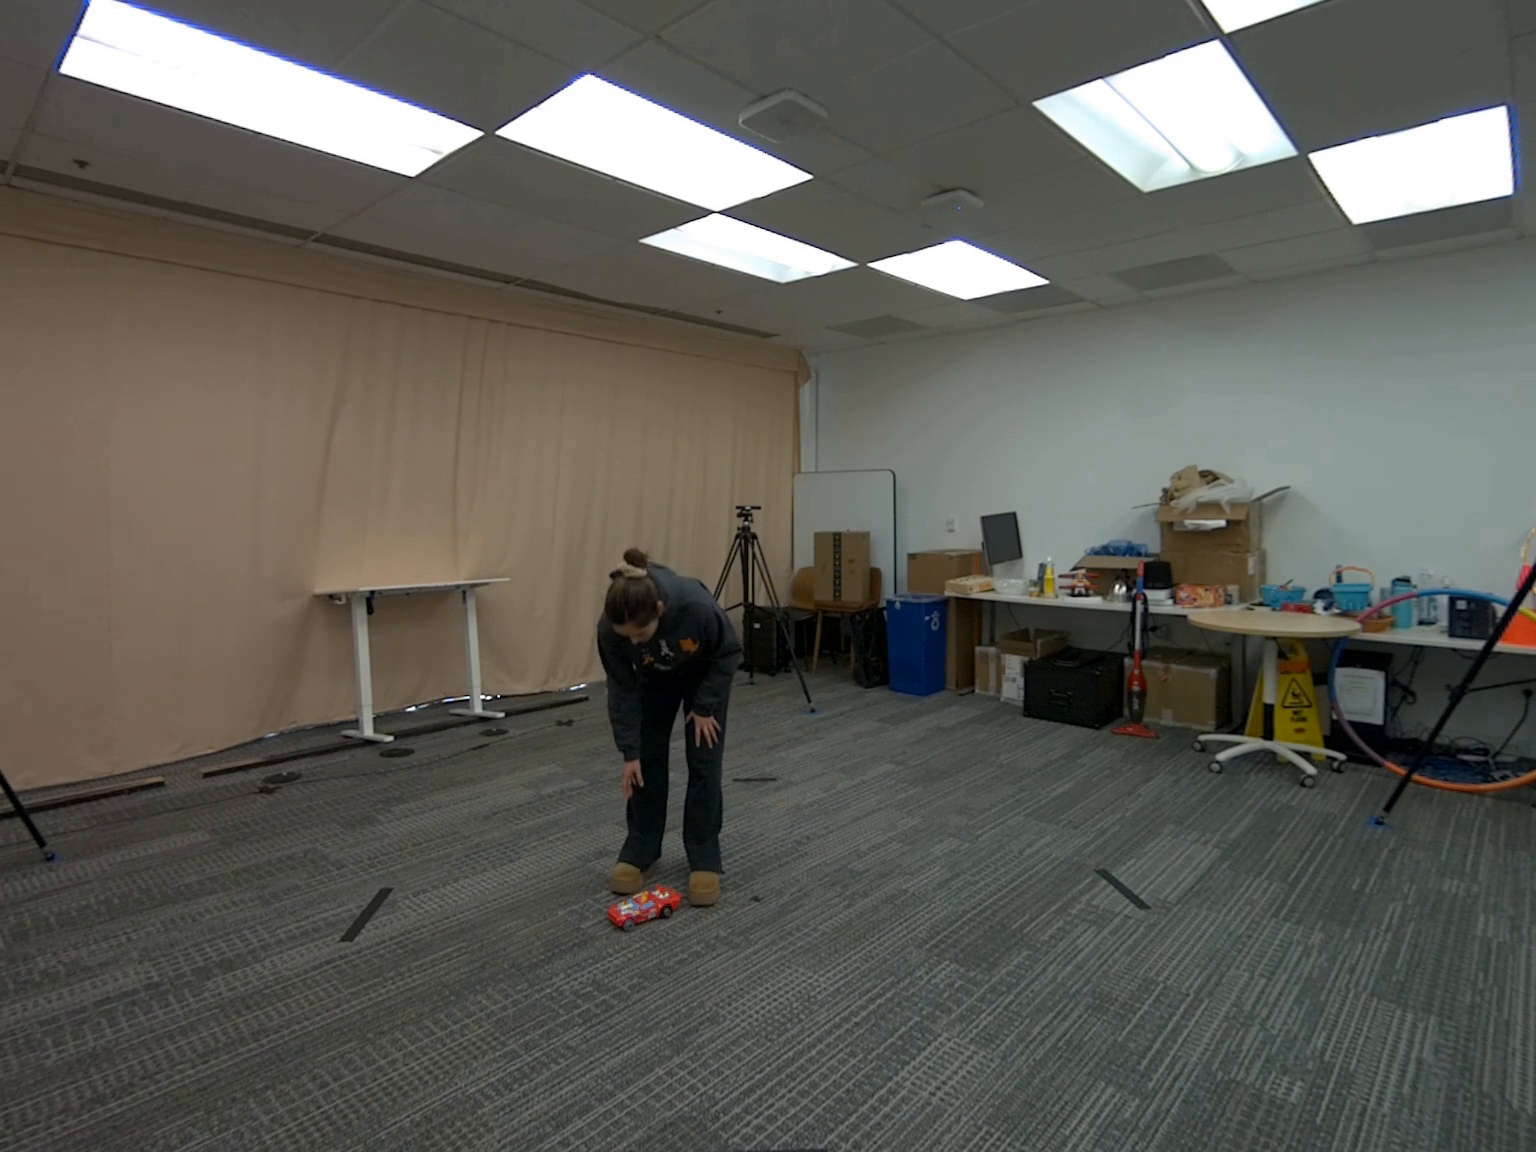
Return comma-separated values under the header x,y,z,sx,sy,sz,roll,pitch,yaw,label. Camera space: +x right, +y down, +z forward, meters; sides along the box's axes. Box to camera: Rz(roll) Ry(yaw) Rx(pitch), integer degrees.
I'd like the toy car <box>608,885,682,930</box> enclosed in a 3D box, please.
x,y,z,sx,sy,sz,roll,pitch,yaw,label
-0.397,1.122,2.864,0.249,0.082,0.134,-18,14,-34,toy car
